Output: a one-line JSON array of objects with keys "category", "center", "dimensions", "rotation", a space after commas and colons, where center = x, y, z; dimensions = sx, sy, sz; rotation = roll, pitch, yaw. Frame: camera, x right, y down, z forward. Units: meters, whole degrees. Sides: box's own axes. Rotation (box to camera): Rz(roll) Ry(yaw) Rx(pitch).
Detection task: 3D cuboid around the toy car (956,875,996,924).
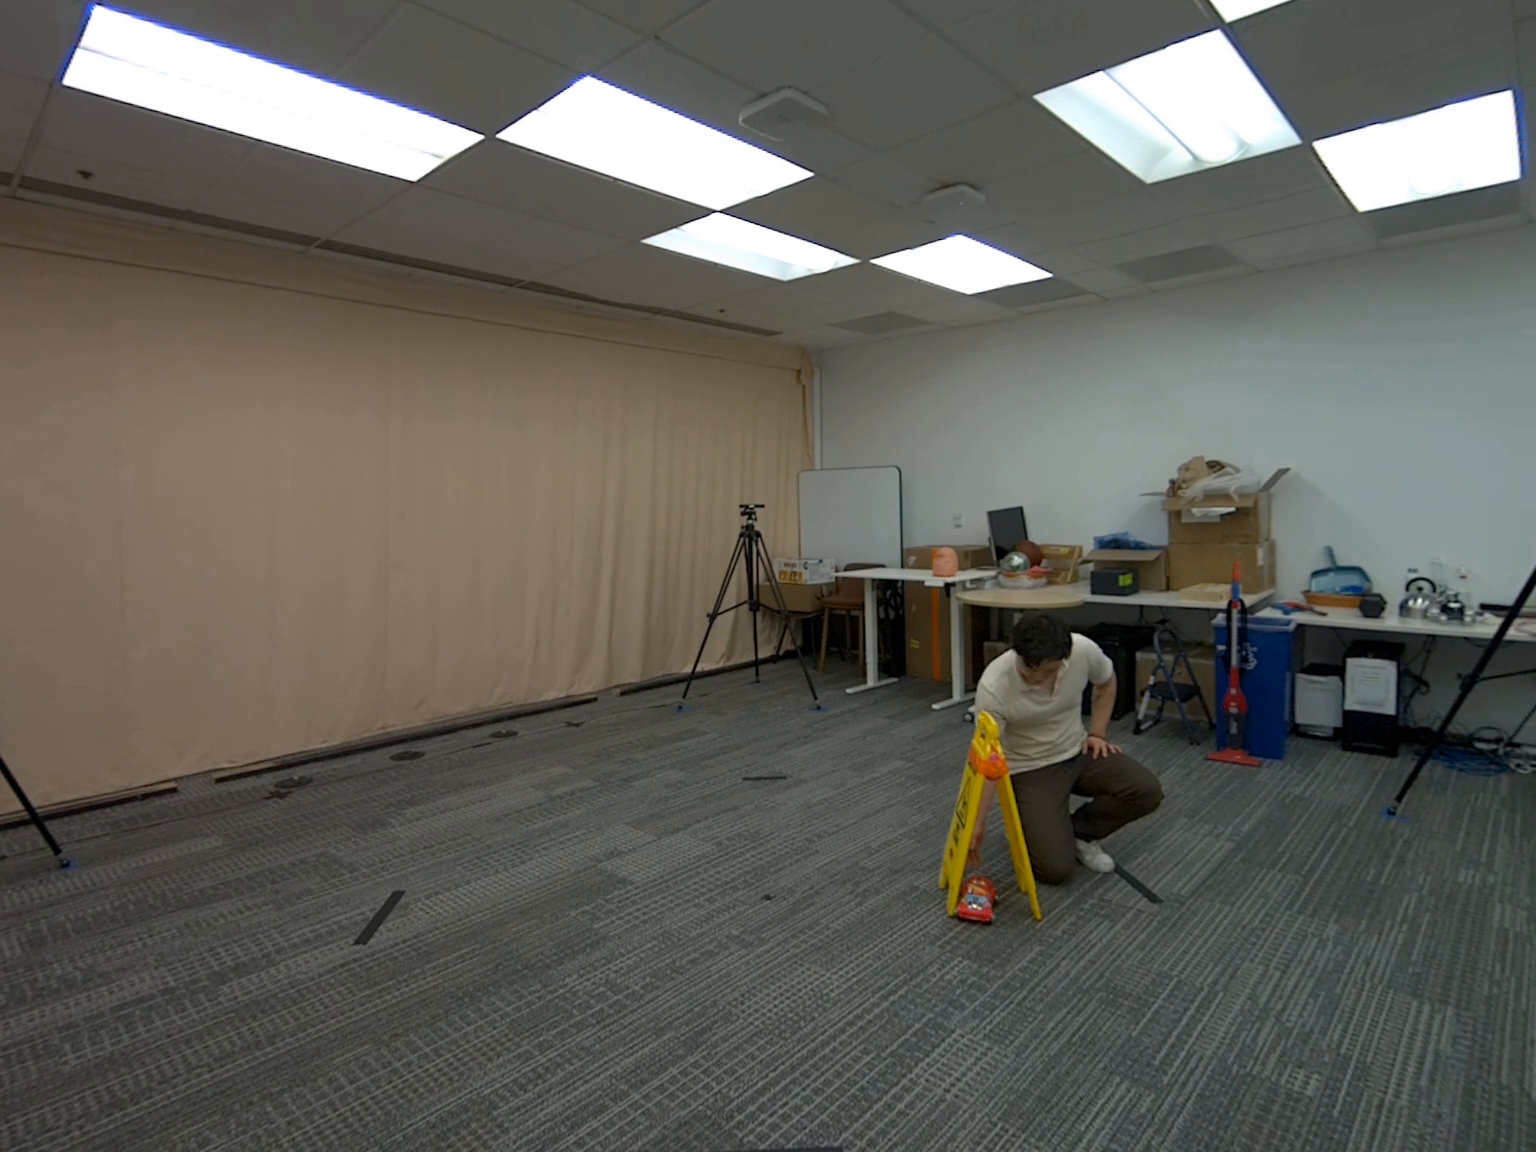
[{"category": "toy car", "center": [0.734, 1.106, 2.903], "dimensions": [0.132, 0.082, 0.253], "rotation": [-1, 17, 14]}]
